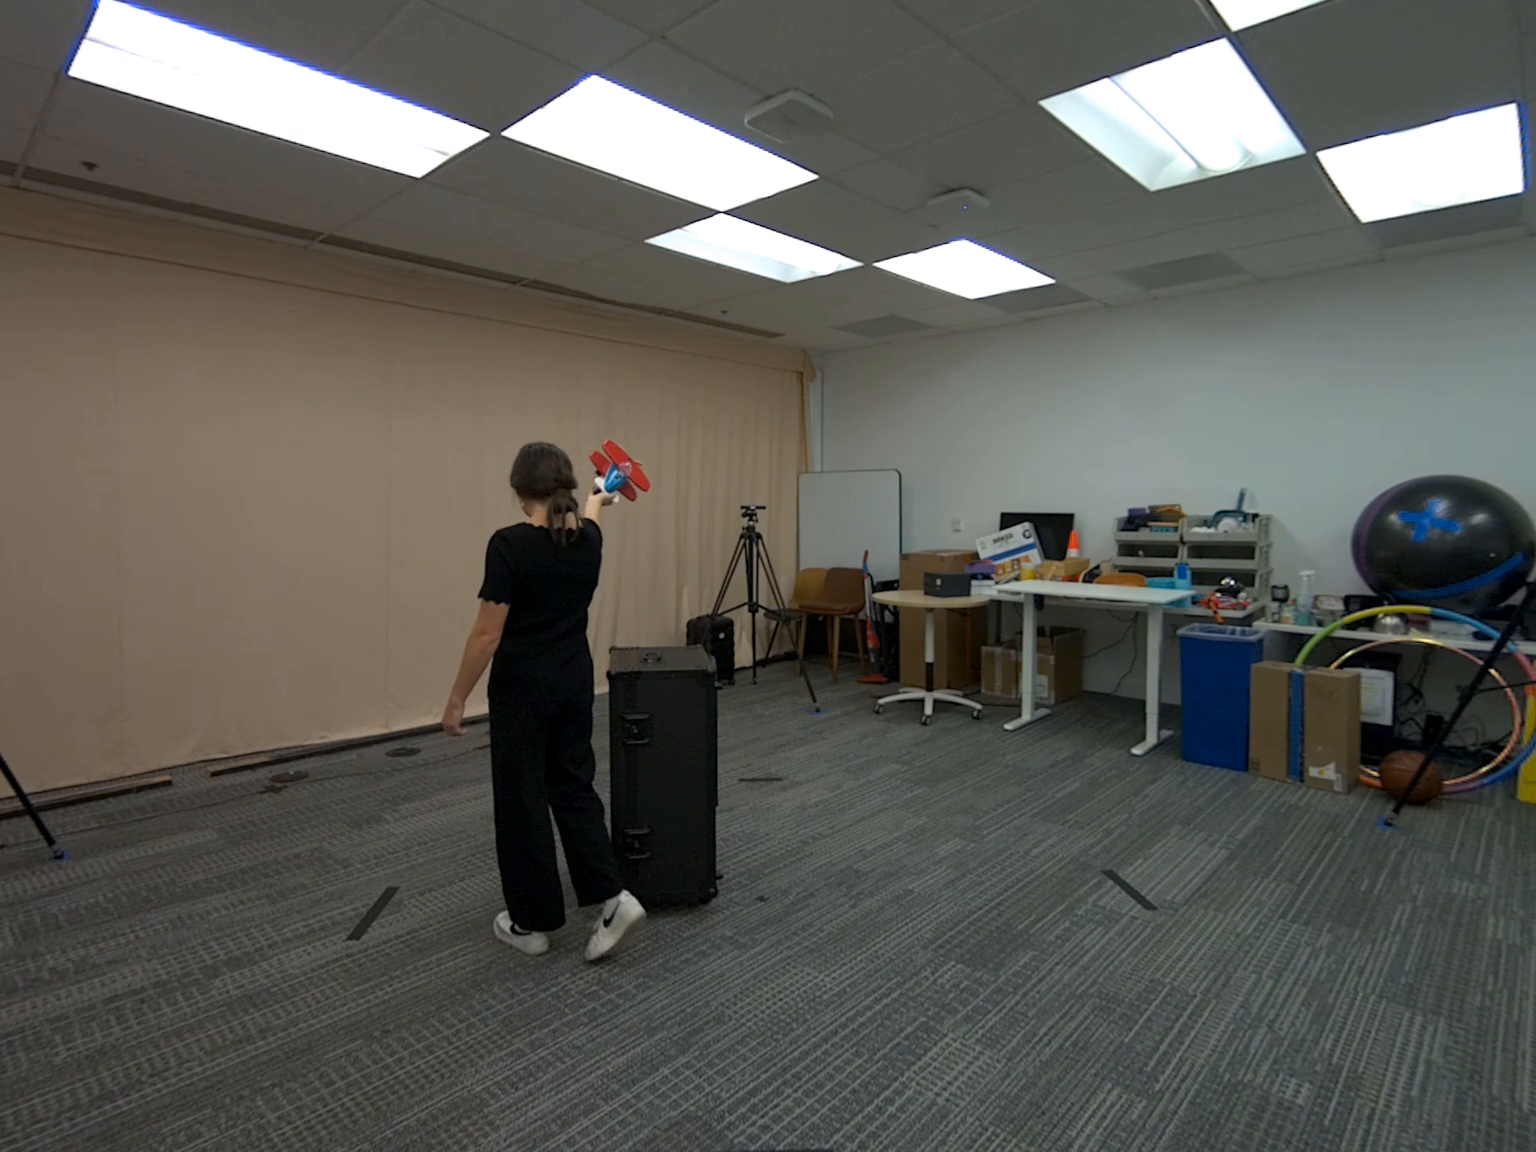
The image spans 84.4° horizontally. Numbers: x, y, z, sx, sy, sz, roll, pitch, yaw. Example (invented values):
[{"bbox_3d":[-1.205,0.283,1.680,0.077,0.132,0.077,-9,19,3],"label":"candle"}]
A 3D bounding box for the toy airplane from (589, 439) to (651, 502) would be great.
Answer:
[{"bbox_3d":[-0.572,-0.373,3.279,0.157,0.267,0.242,-39,-43,17],"label":"toy airplane"}]
